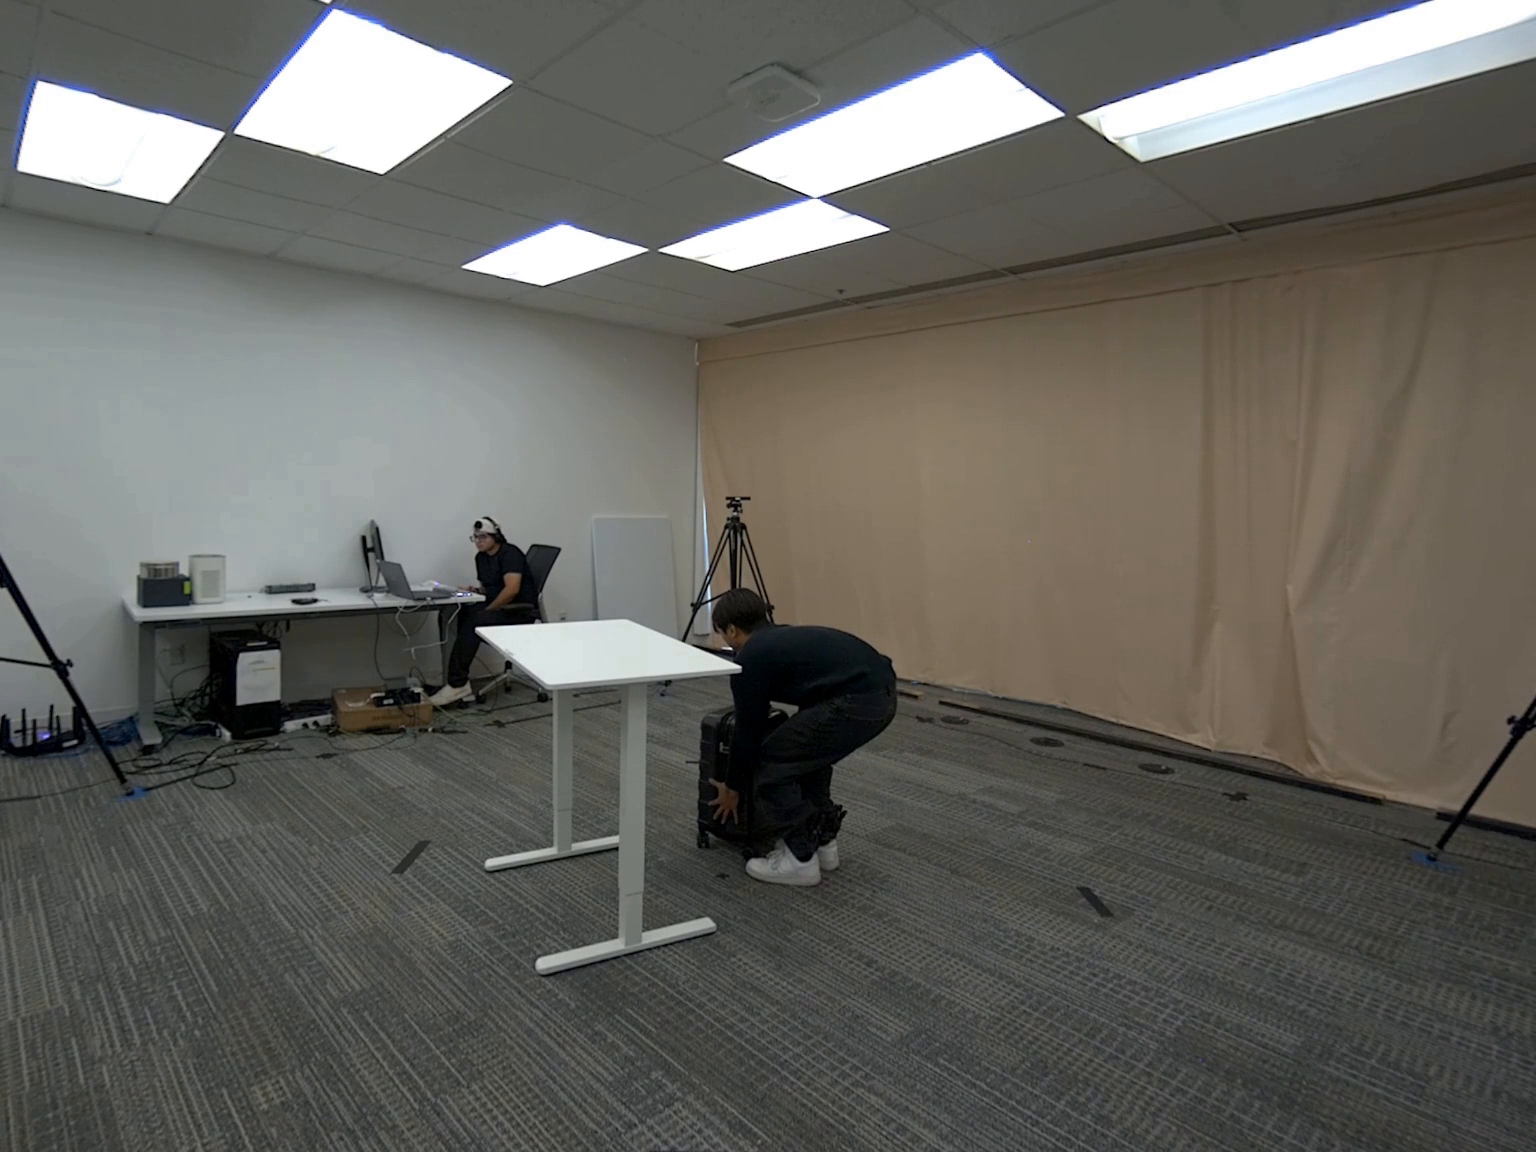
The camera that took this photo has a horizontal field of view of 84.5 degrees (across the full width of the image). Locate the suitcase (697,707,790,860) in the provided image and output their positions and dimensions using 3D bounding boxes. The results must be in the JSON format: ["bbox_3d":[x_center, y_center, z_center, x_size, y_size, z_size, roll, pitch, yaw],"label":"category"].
[{"bbox_3d":[-0.105,0.802,3.429,0.254,0.548,0.368,3,3,31],"label":"suitcase"}]
